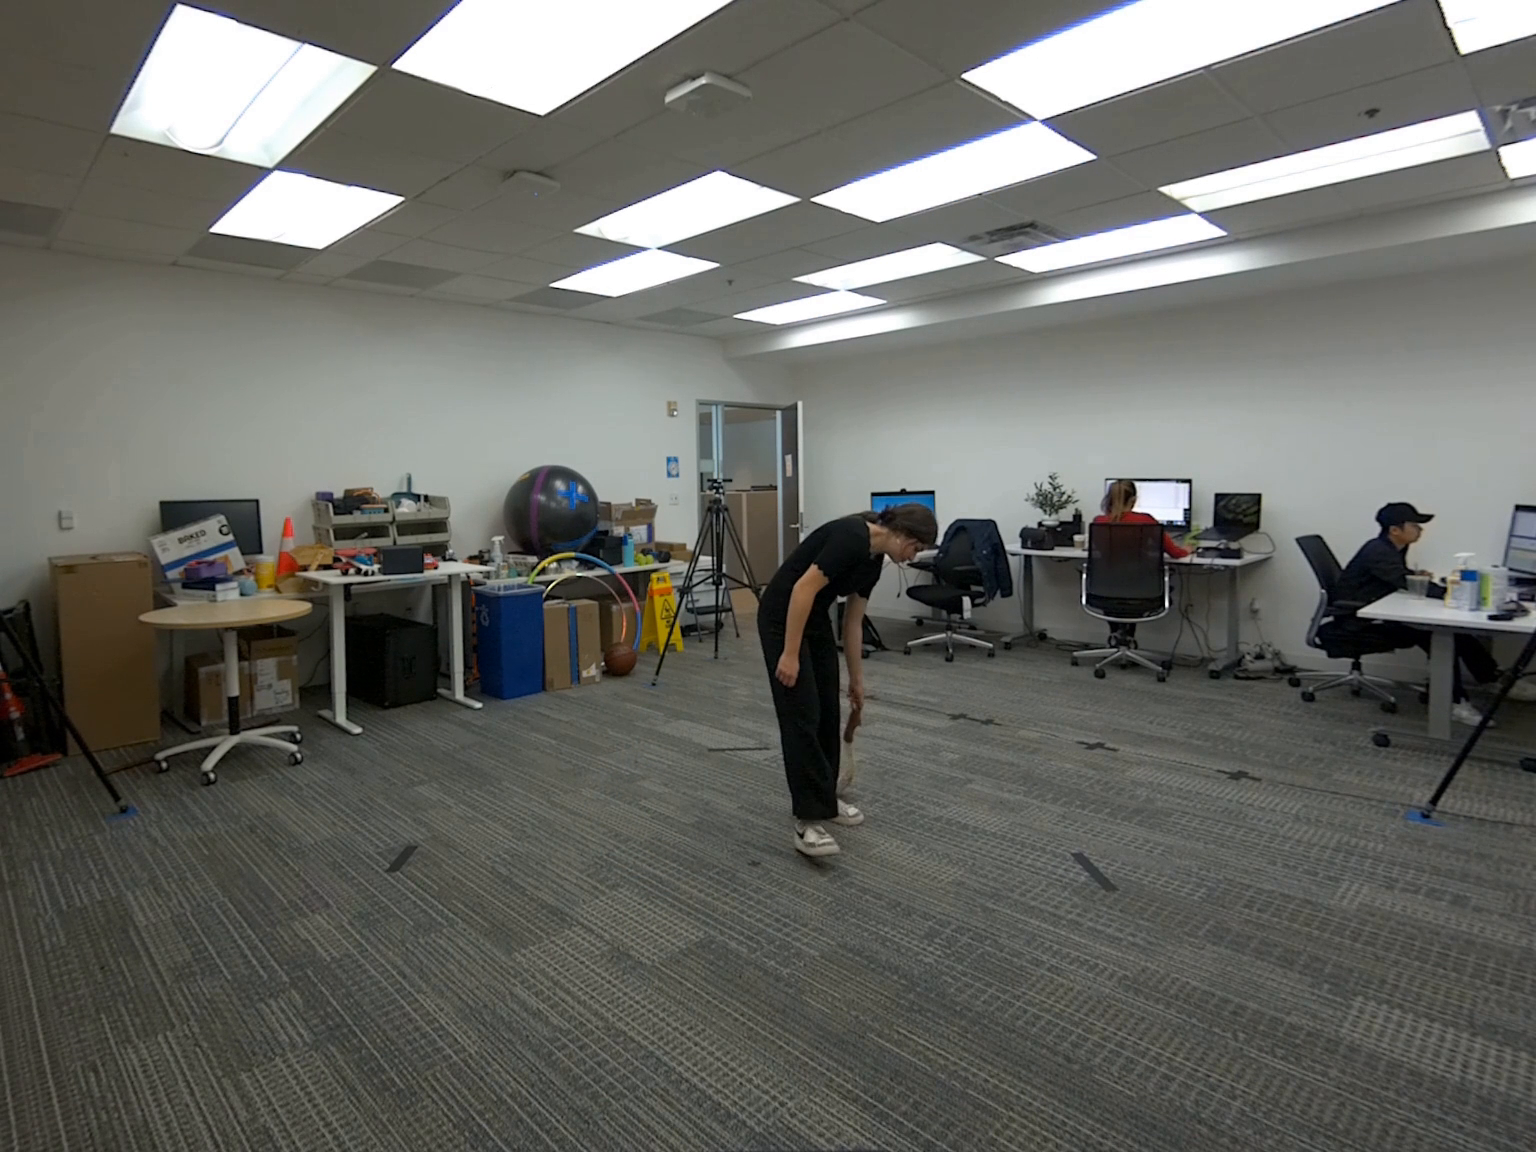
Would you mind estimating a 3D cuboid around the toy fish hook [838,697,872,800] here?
[{"bbox_3d":[0.286,0.751,3.656,0.221,0.497,0.050,-2,27,-19],"label":"toy fish hook"}]
